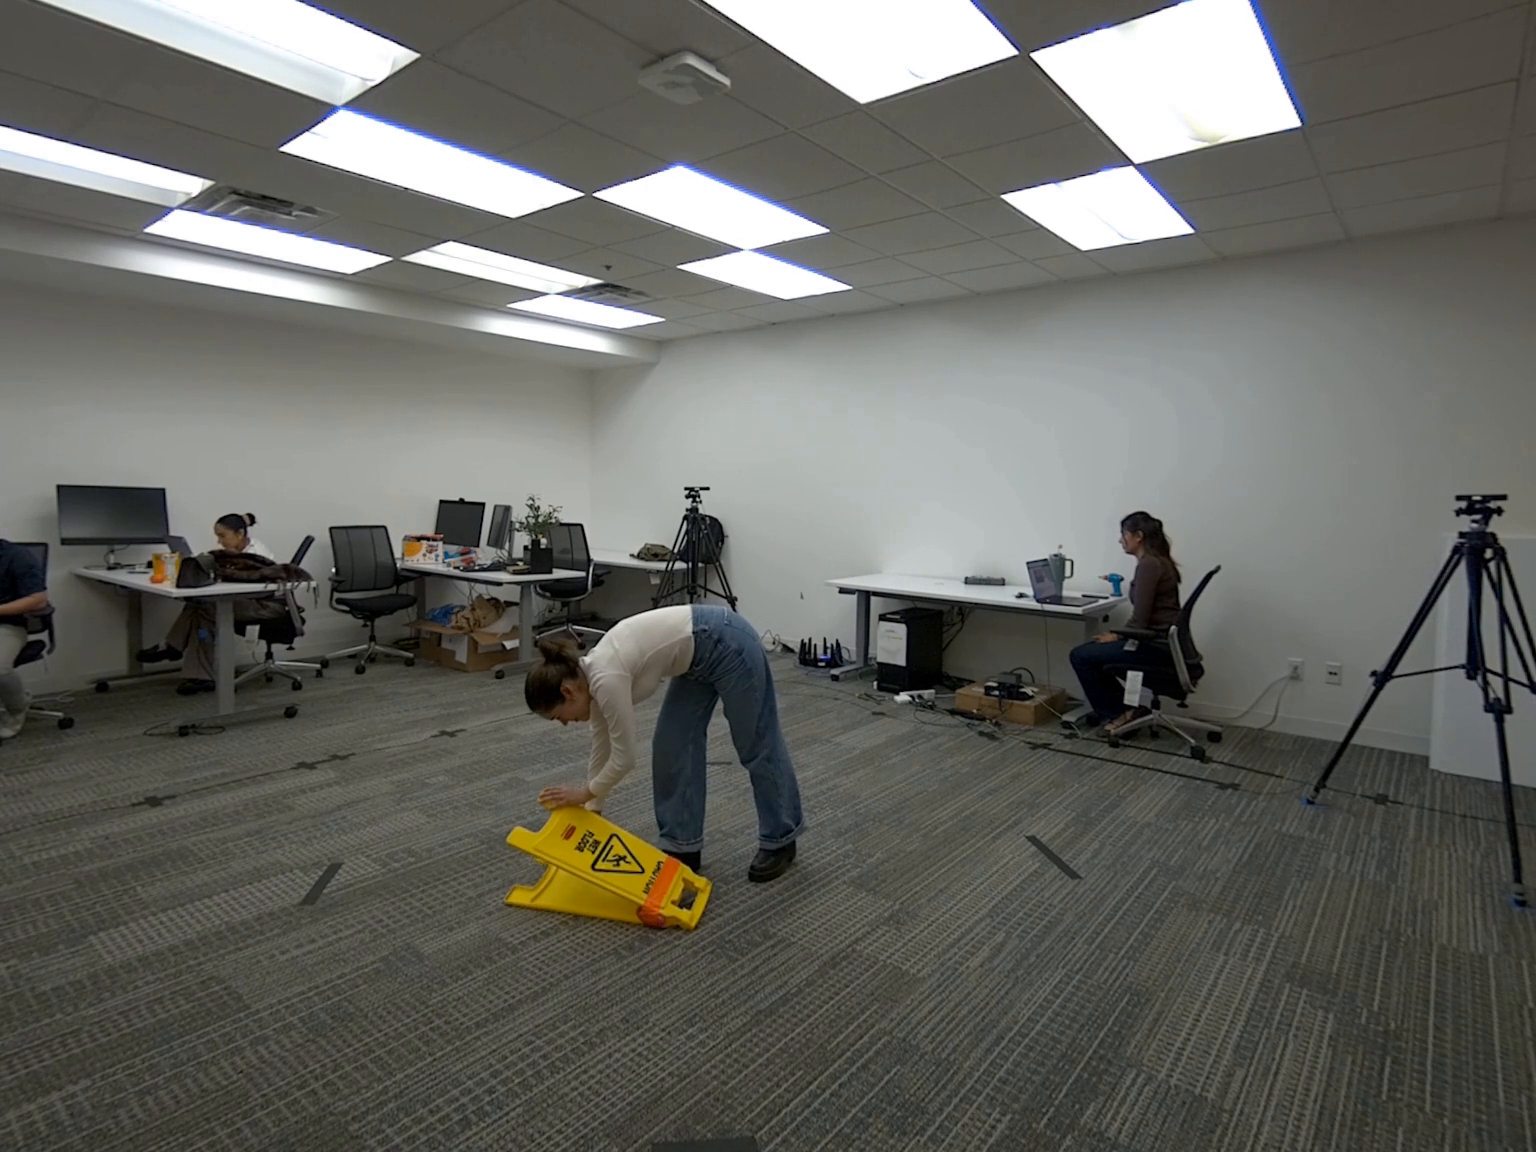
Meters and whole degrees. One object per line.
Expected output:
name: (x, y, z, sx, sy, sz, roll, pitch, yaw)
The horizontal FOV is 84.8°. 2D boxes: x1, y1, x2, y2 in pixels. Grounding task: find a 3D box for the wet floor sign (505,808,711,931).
wet floor sign: (-0.526, 0.984, 2.814, 0.657, 0.285, 0.282, 13, 24, 13)
